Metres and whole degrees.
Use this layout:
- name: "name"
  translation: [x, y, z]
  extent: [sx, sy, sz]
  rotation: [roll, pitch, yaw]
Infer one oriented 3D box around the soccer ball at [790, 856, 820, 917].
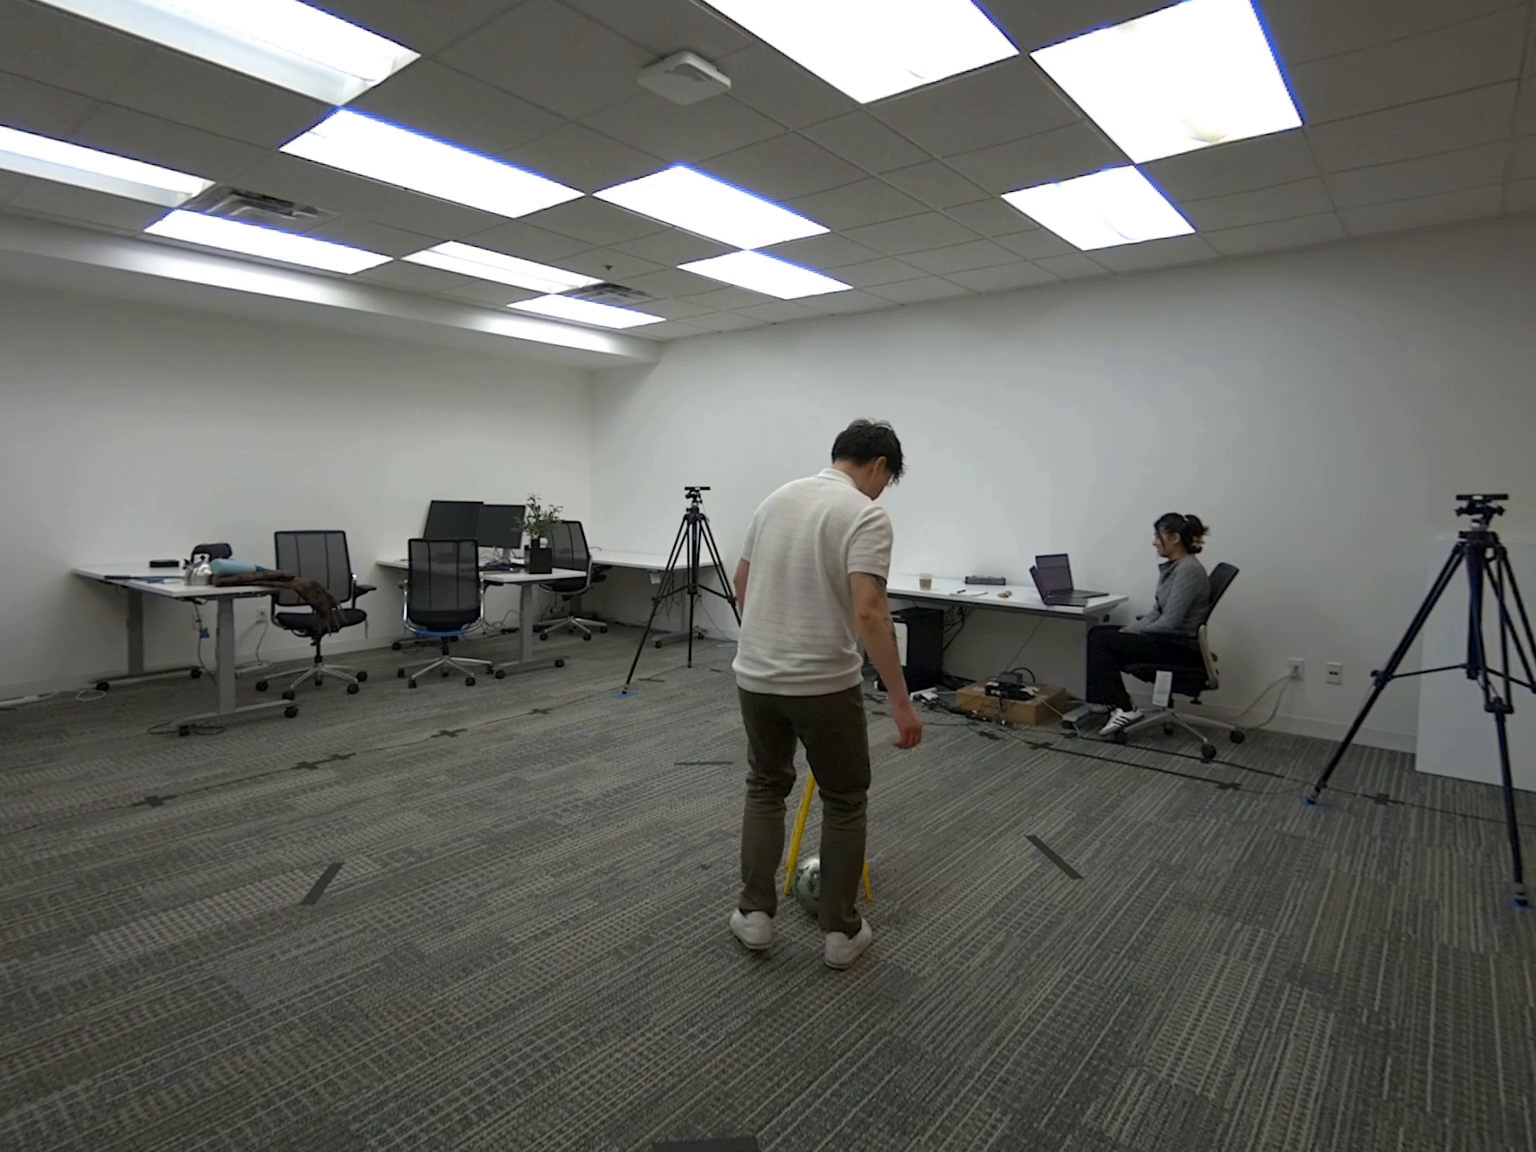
- name: "soccer ball"
  translation: [0.166, 1.007, 2.795]
  extent: [0.187, 0.187, 0.188]
  rotation: [0, 4, -2]
